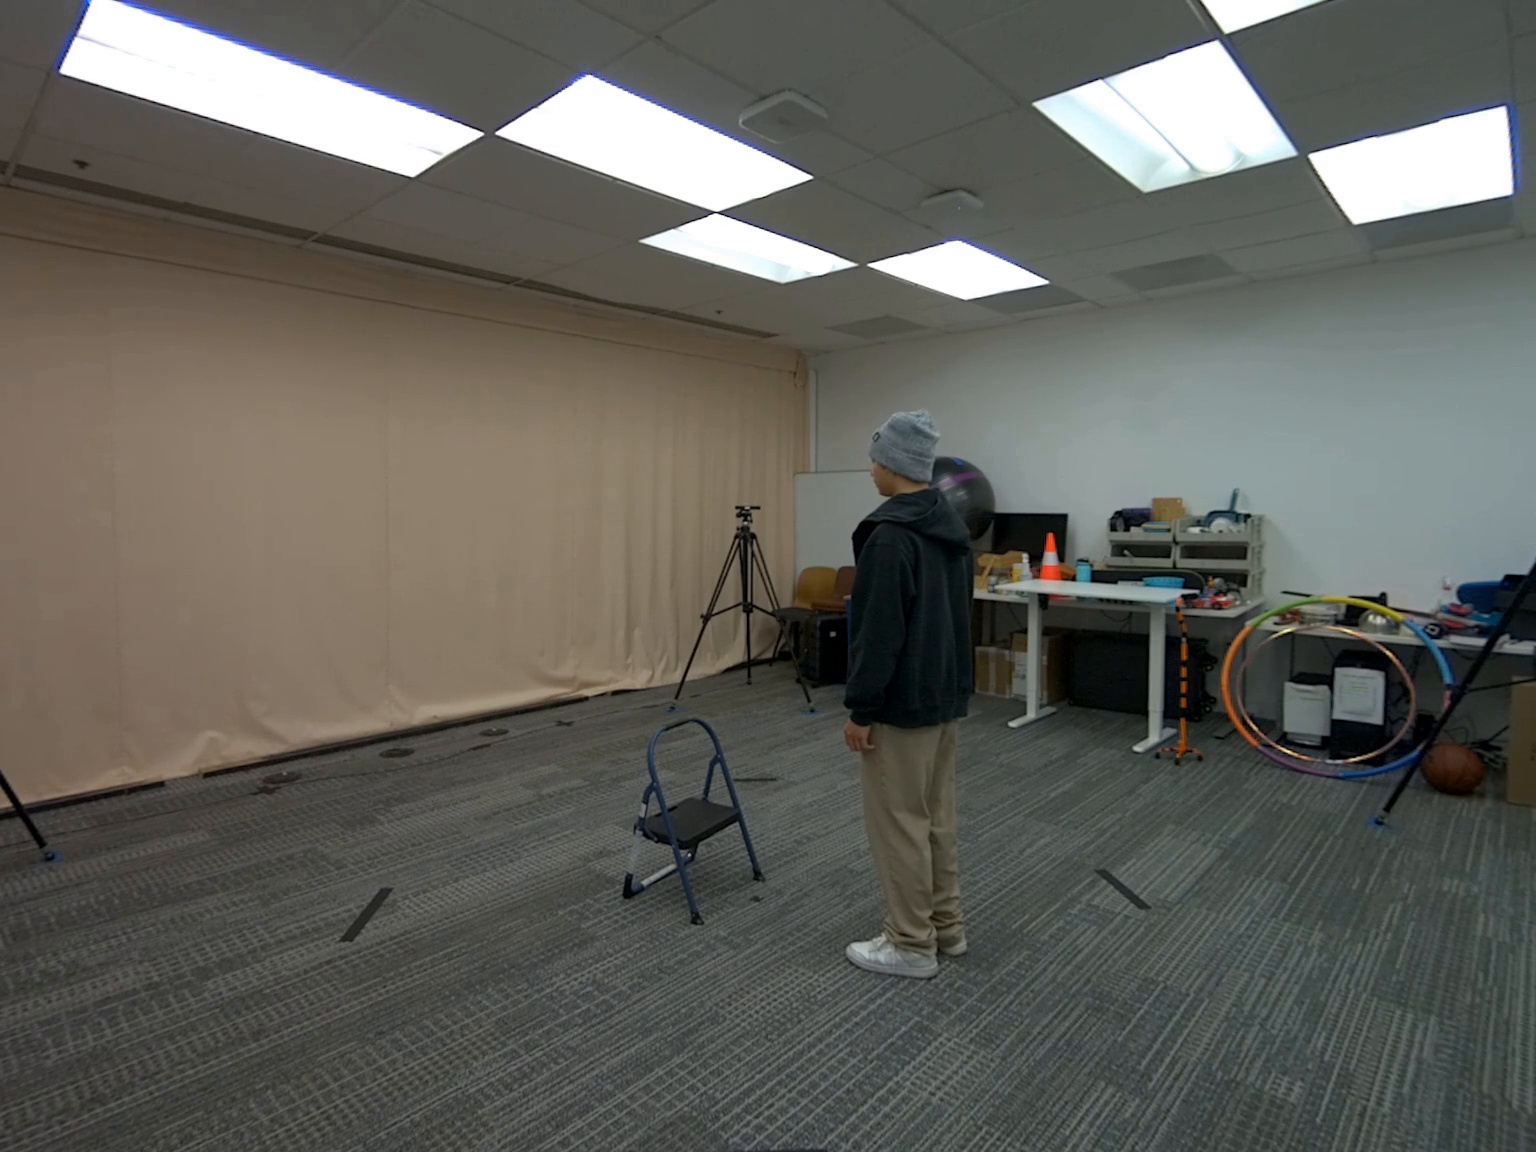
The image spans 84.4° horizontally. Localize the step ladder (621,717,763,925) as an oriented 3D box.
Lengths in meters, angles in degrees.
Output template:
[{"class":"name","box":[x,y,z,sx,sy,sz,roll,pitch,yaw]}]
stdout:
[{"class":"step ladder","box":[-0.266,0.836,3.053,0.360,0.605,0.418,2,4,32]}]
